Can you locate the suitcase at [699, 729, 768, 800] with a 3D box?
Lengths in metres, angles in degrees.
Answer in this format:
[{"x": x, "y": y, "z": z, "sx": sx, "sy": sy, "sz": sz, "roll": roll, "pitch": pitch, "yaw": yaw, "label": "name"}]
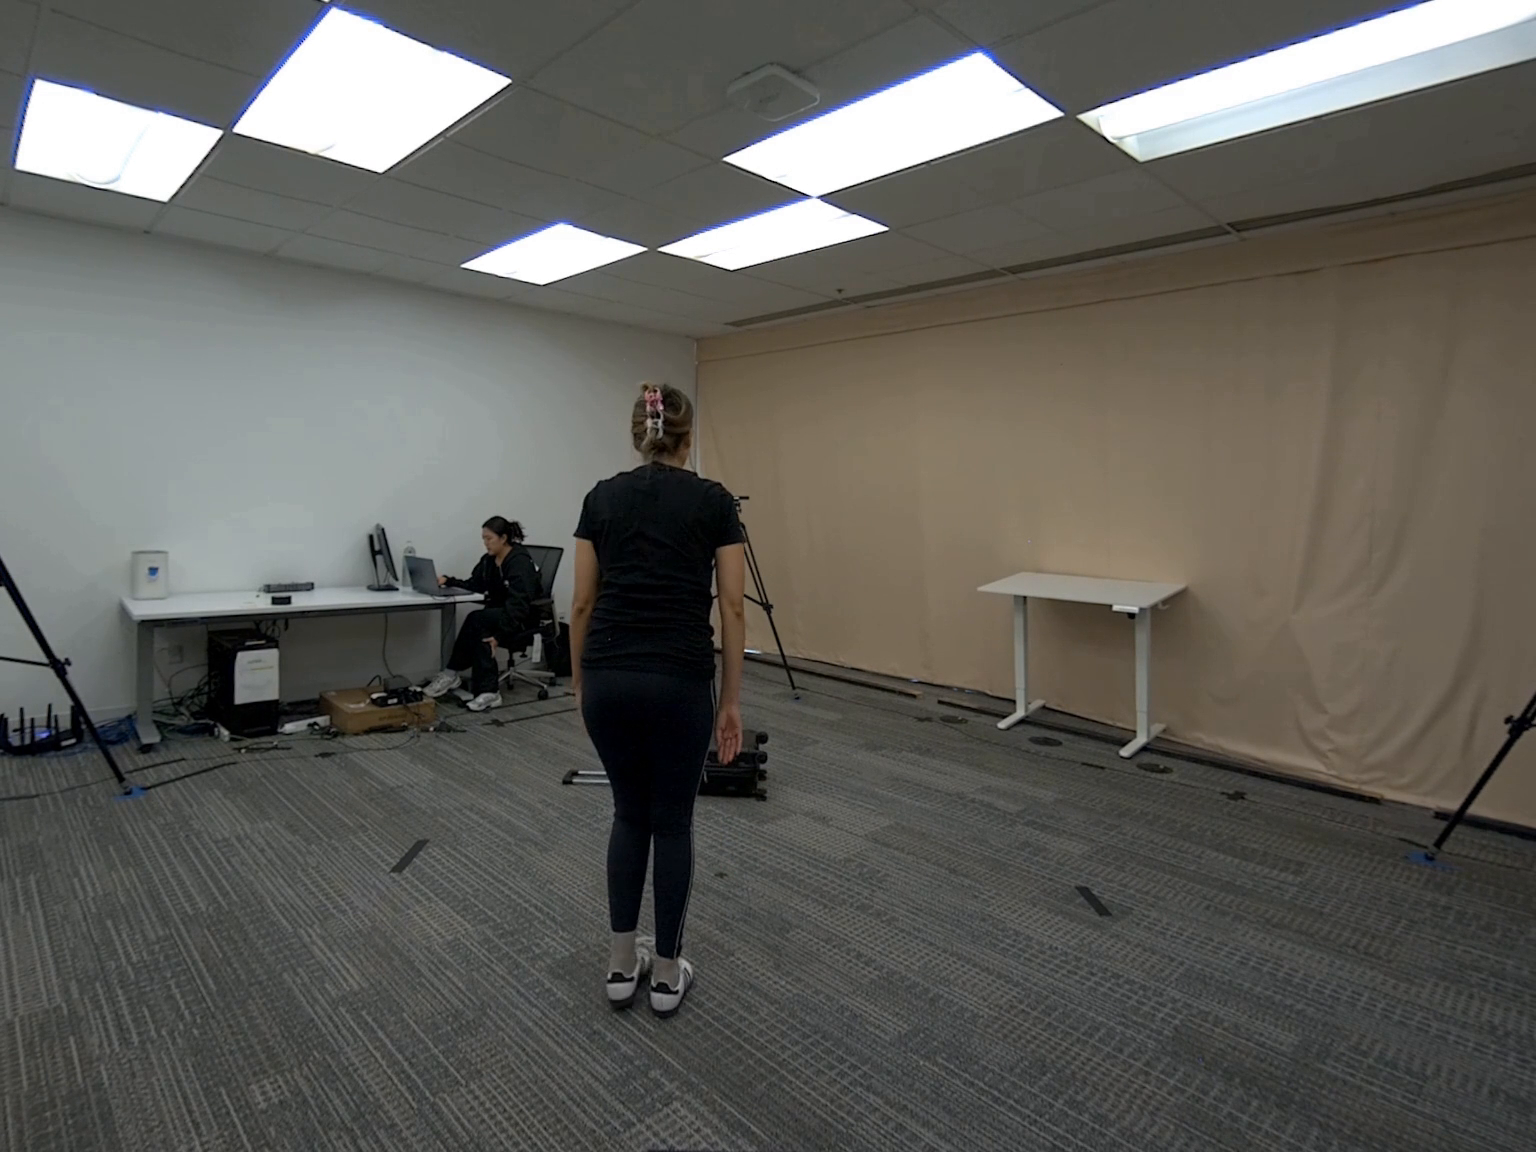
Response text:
[{"x": -0.494, "y": 0.887, "z": 4.091, "sx": 0.981, "sy": 0.256, "sz": 0.385, "roll": 3, "pitch": 6, "yaw": 2, "label": "suitcase"}]
